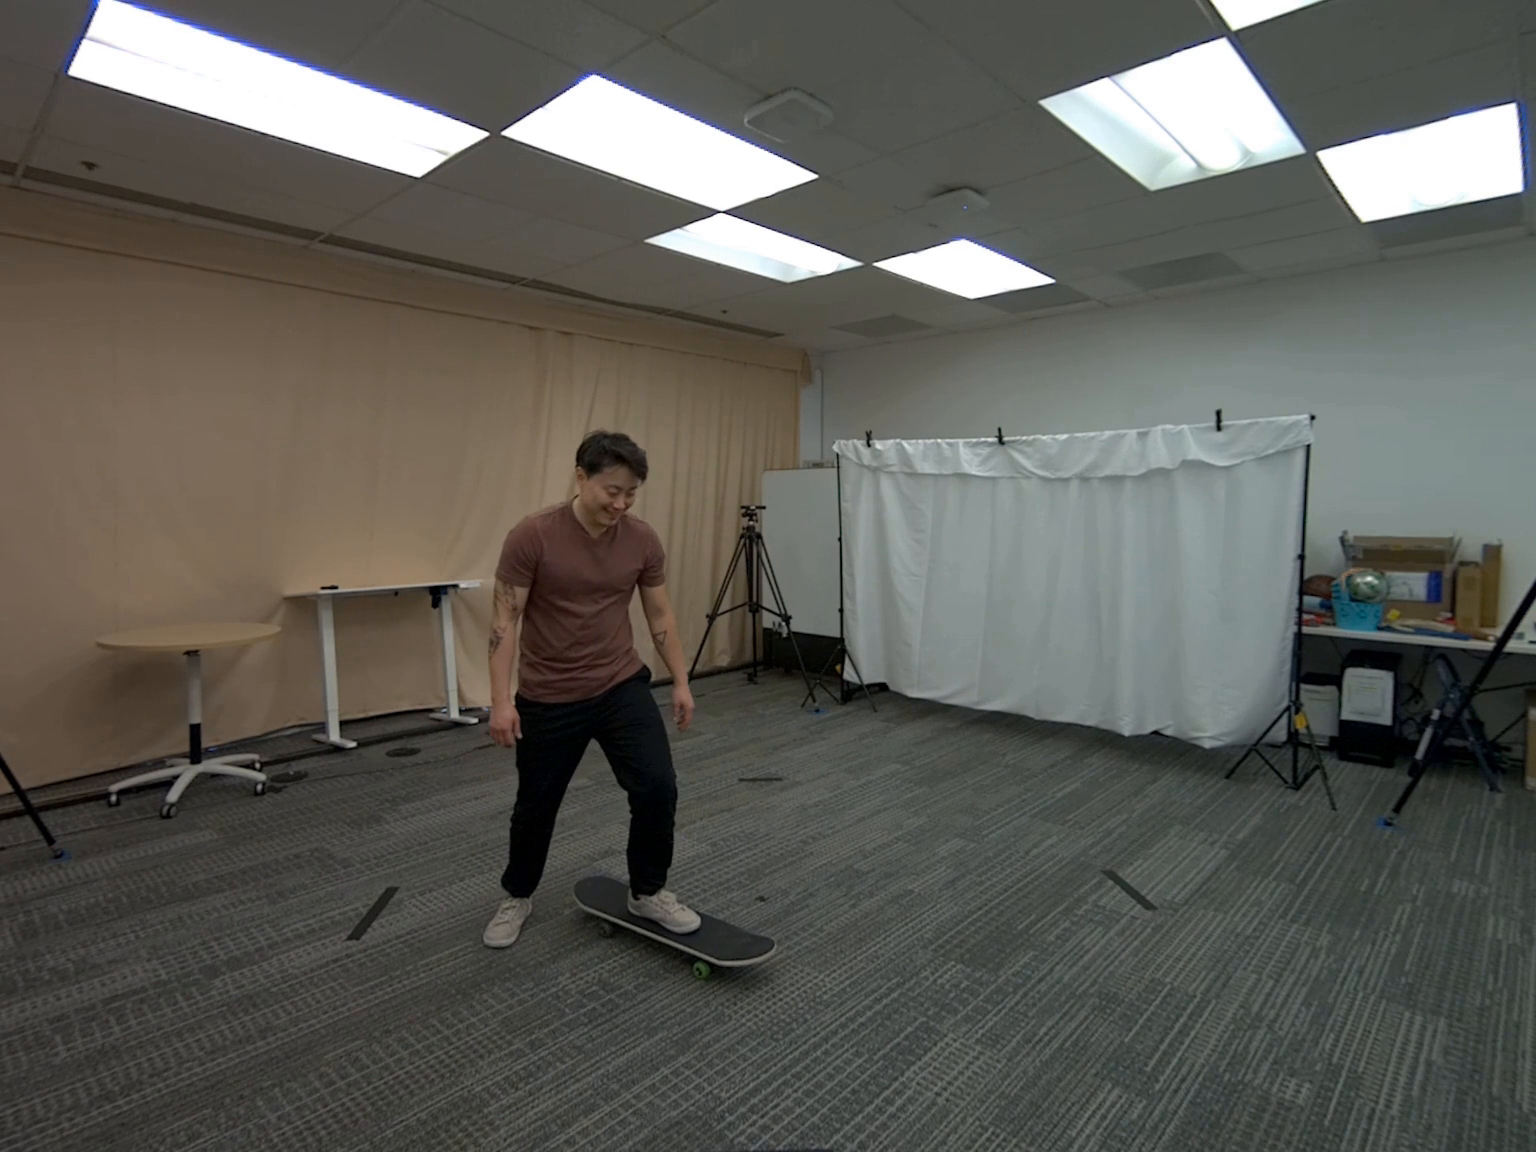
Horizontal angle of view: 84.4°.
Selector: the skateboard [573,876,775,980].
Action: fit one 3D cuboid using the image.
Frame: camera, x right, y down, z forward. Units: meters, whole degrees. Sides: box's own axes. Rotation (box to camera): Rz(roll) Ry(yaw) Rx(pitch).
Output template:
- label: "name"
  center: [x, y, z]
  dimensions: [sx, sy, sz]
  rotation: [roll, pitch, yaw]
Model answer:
- label: "skateboard"
  center: [-0.318, 1.117, 2.656]
  dimensions: [0.810, 0.110, 0.188]
  rotation: [3, 7, 36]
